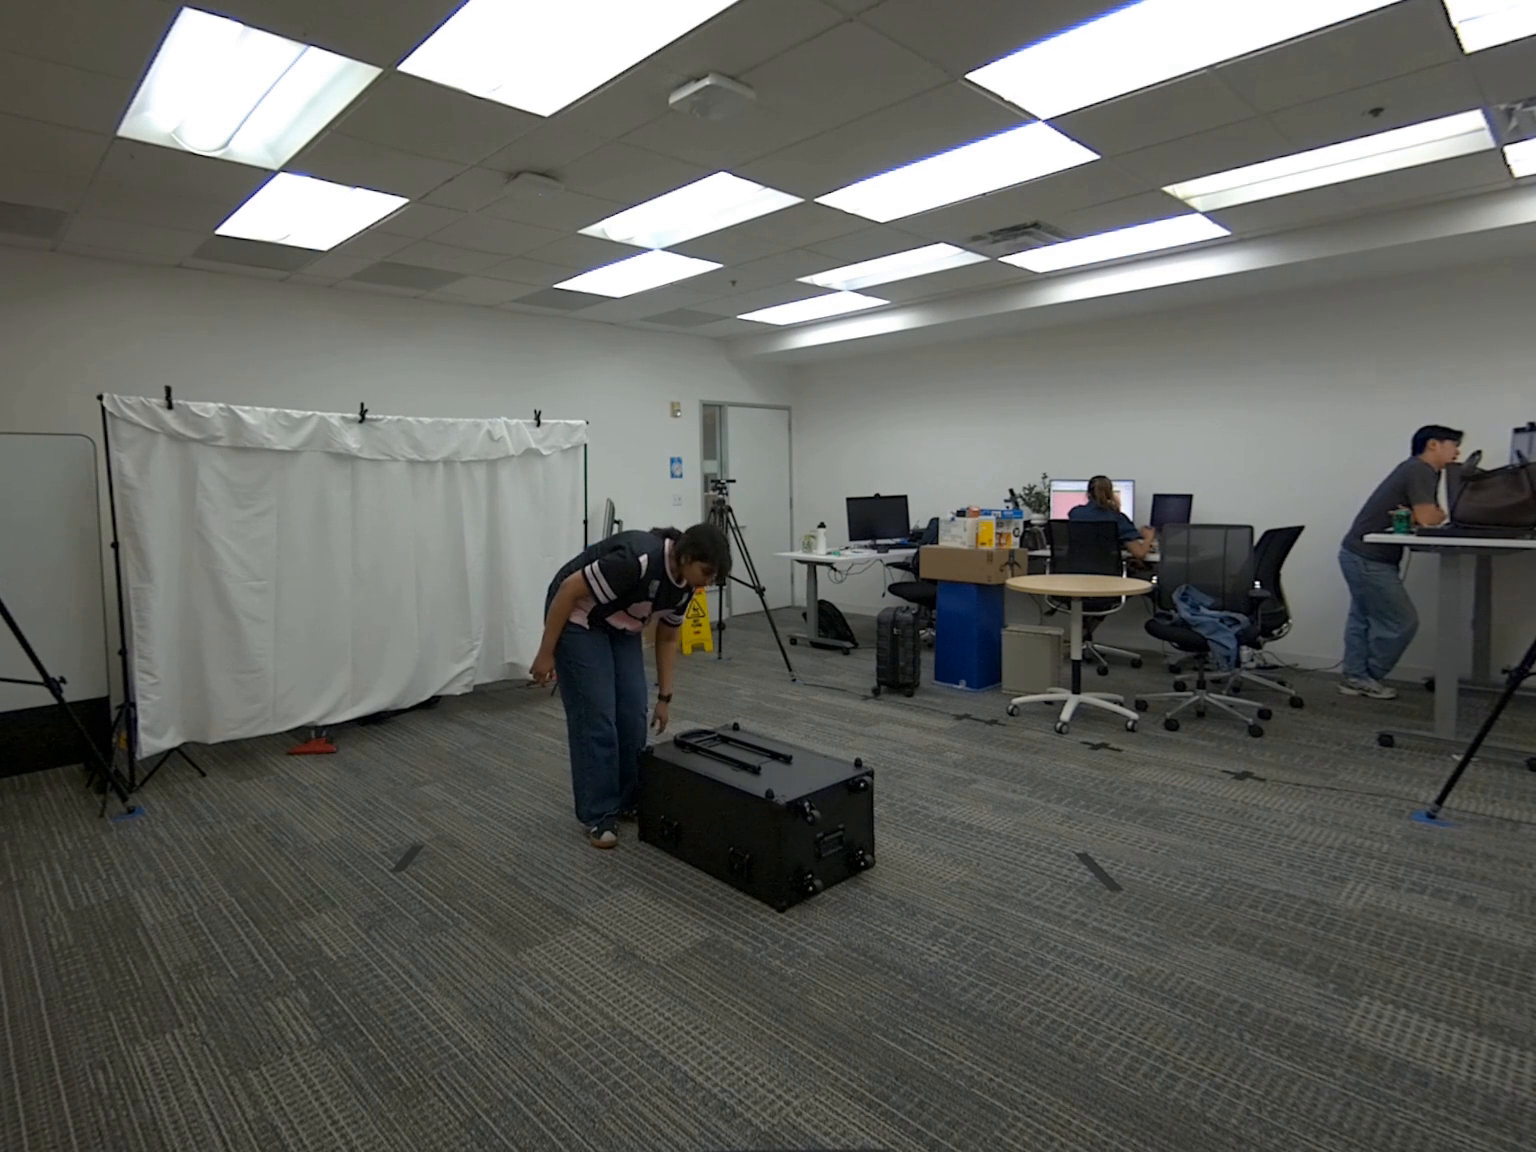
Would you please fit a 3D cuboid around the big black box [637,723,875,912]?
[{"bbox_3d":[-0.028,0.855,3.167,0.509,0.384,0.895,-4,7,-43],"label":"big black box"}]
